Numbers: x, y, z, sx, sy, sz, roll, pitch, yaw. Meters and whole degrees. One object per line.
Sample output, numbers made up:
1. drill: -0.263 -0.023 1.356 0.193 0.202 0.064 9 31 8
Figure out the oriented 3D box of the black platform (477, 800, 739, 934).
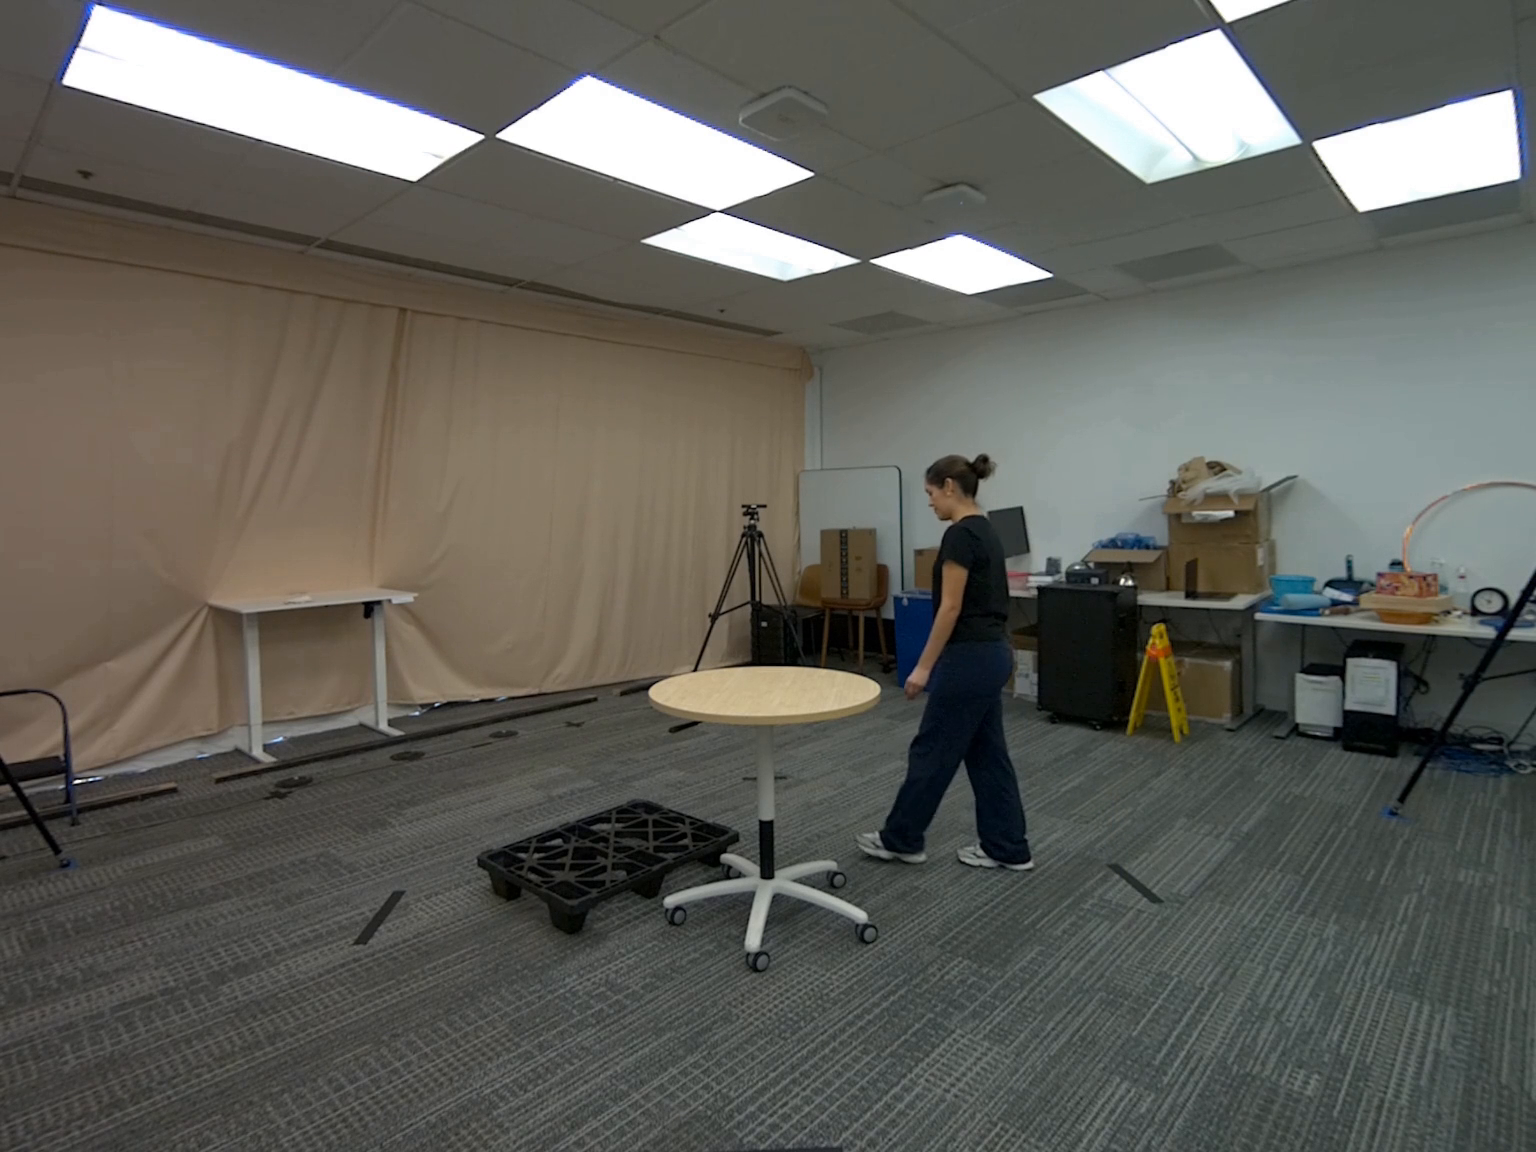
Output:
1. black platform: -0.566 1.071 3.166 0.625 0.143 0.782 3 7 41
